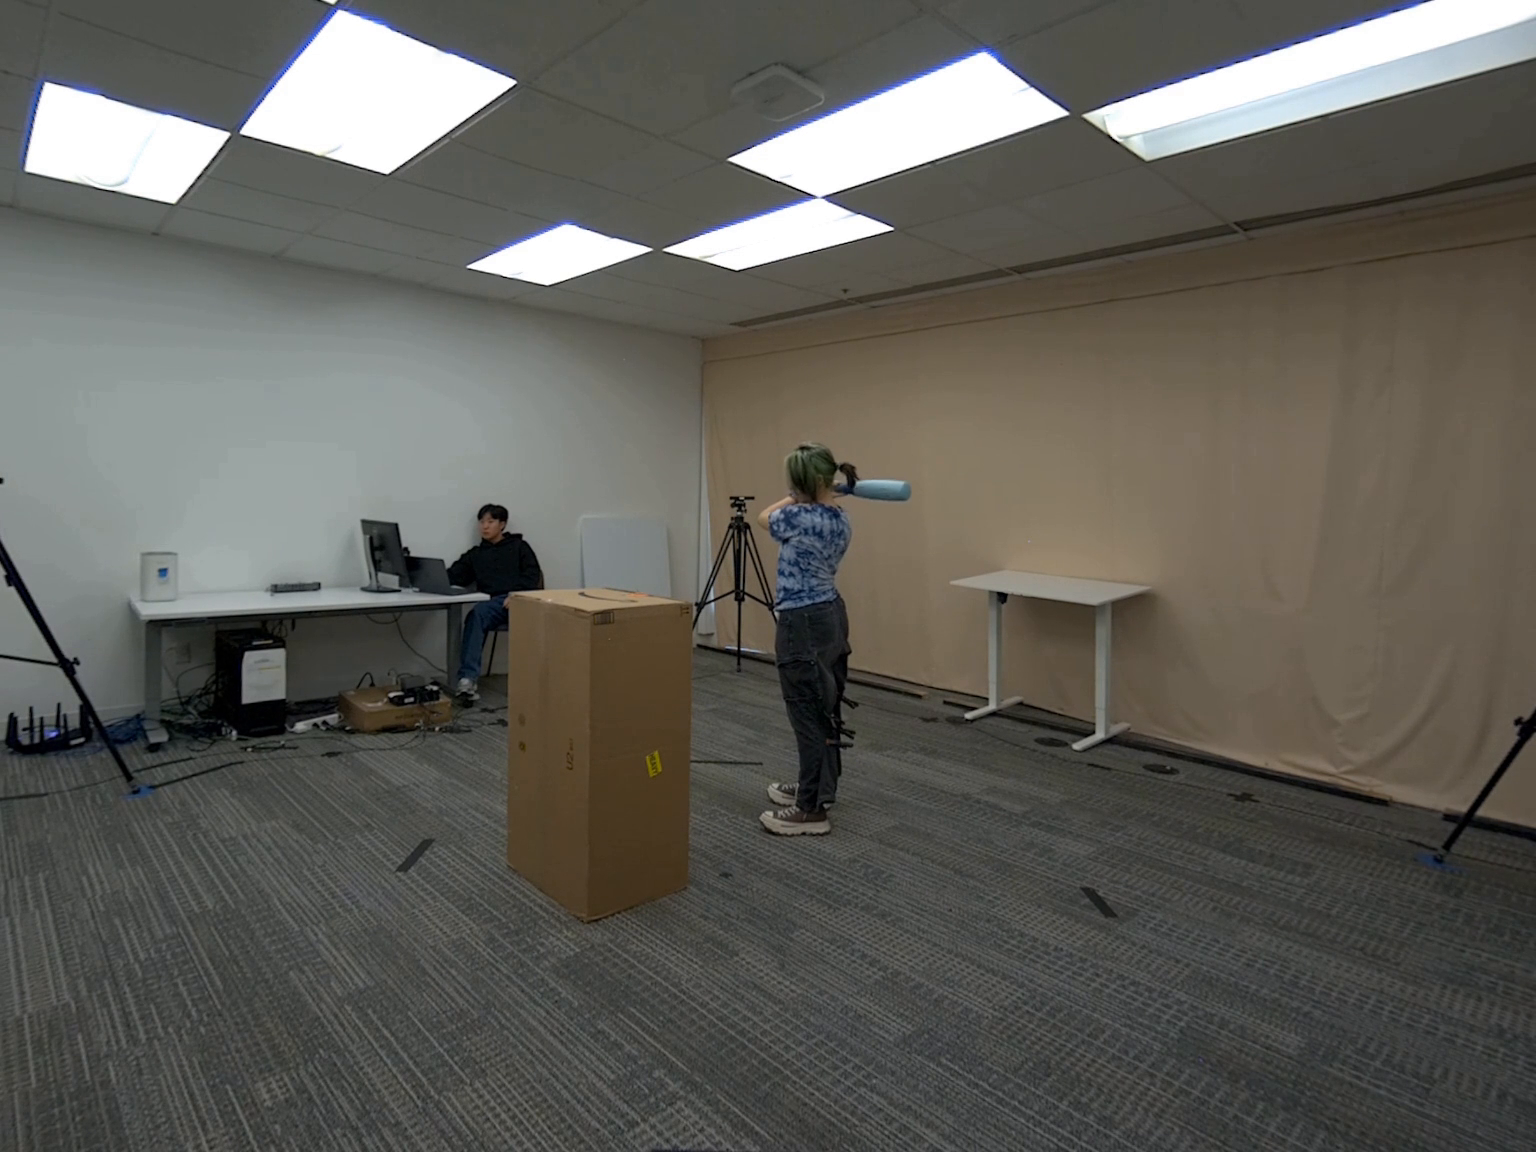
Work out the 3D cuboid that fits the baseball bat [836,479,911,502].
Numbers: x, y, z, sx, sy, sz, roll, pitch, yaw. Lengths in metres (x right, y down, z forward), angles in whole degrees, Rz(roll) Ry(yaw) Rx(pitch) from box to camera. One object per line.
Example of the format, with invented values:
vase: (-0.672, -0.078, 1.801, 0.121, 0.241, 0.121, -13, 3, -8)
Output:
baseball bat: (0.364, -0.390, 3.761, 0.557, 0.089, 0.087, 7, 7, 40)
